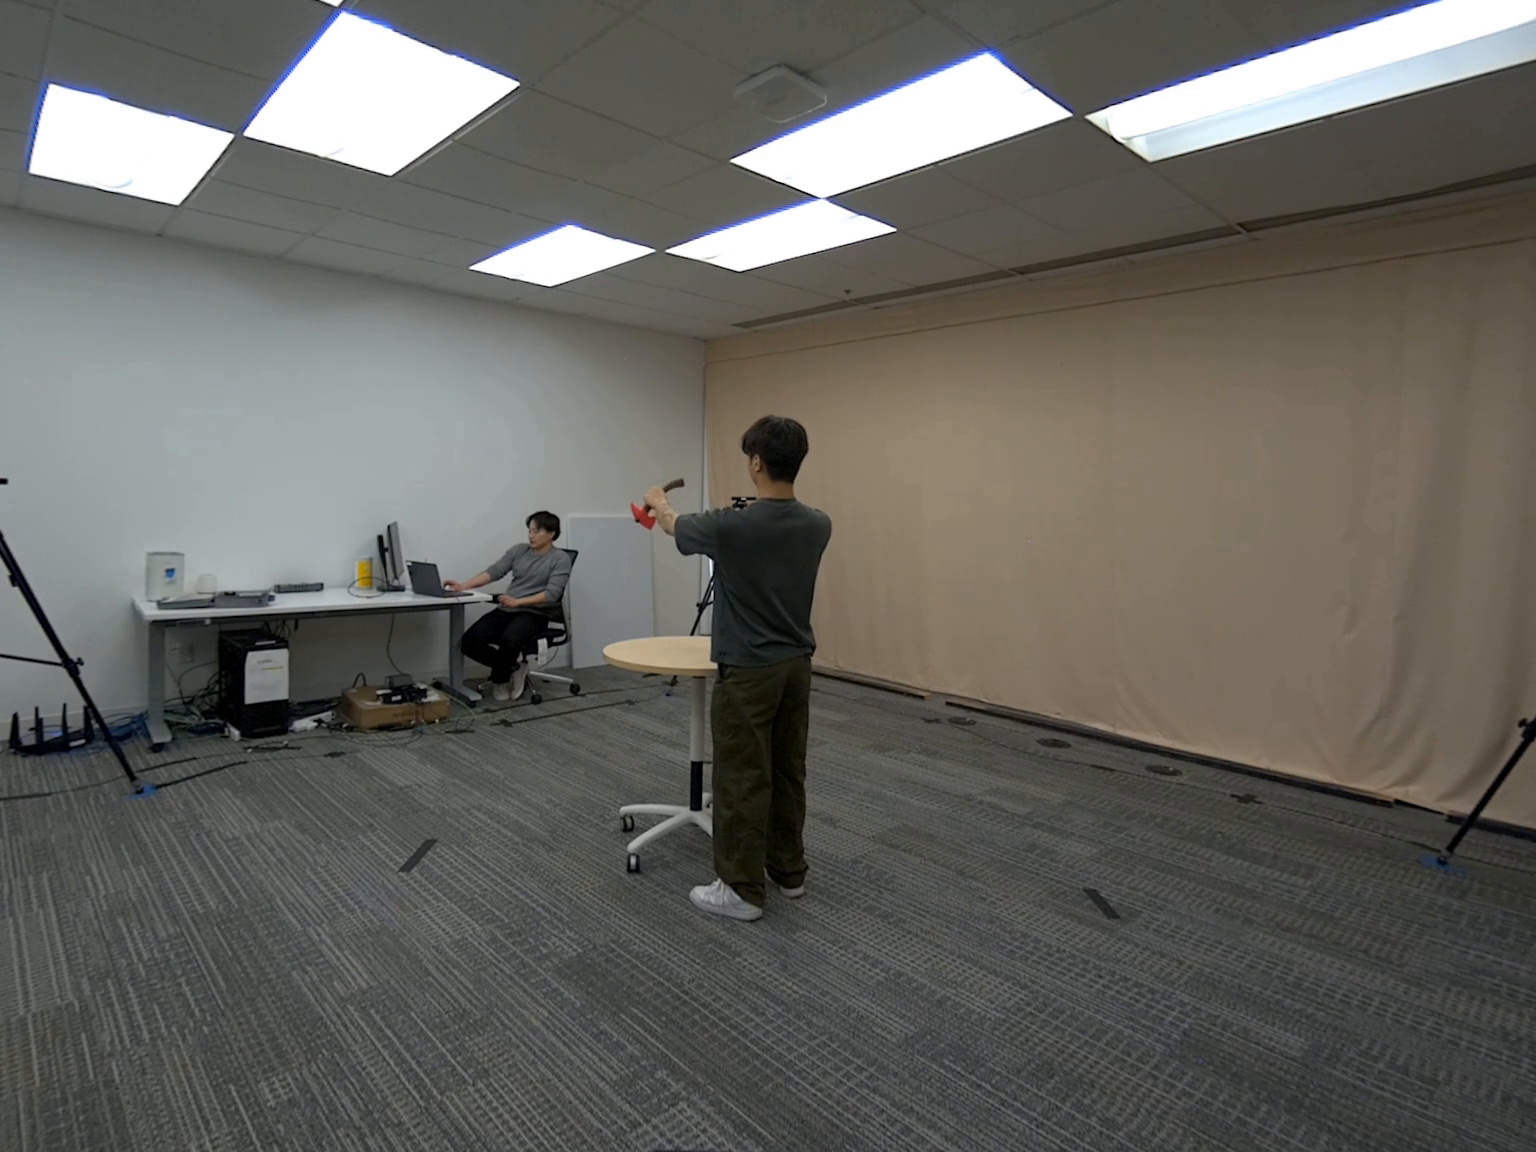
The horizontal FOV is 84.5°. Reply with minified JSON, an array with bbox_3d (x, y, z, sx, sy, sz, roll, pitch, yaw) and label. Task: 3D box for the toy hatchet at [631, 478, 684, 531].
[{"bbox_3d":[-0.418,-0.272,3.239,0.268,0.129,0.030,-34,22,-36],"label":"toy hatchet"}]
